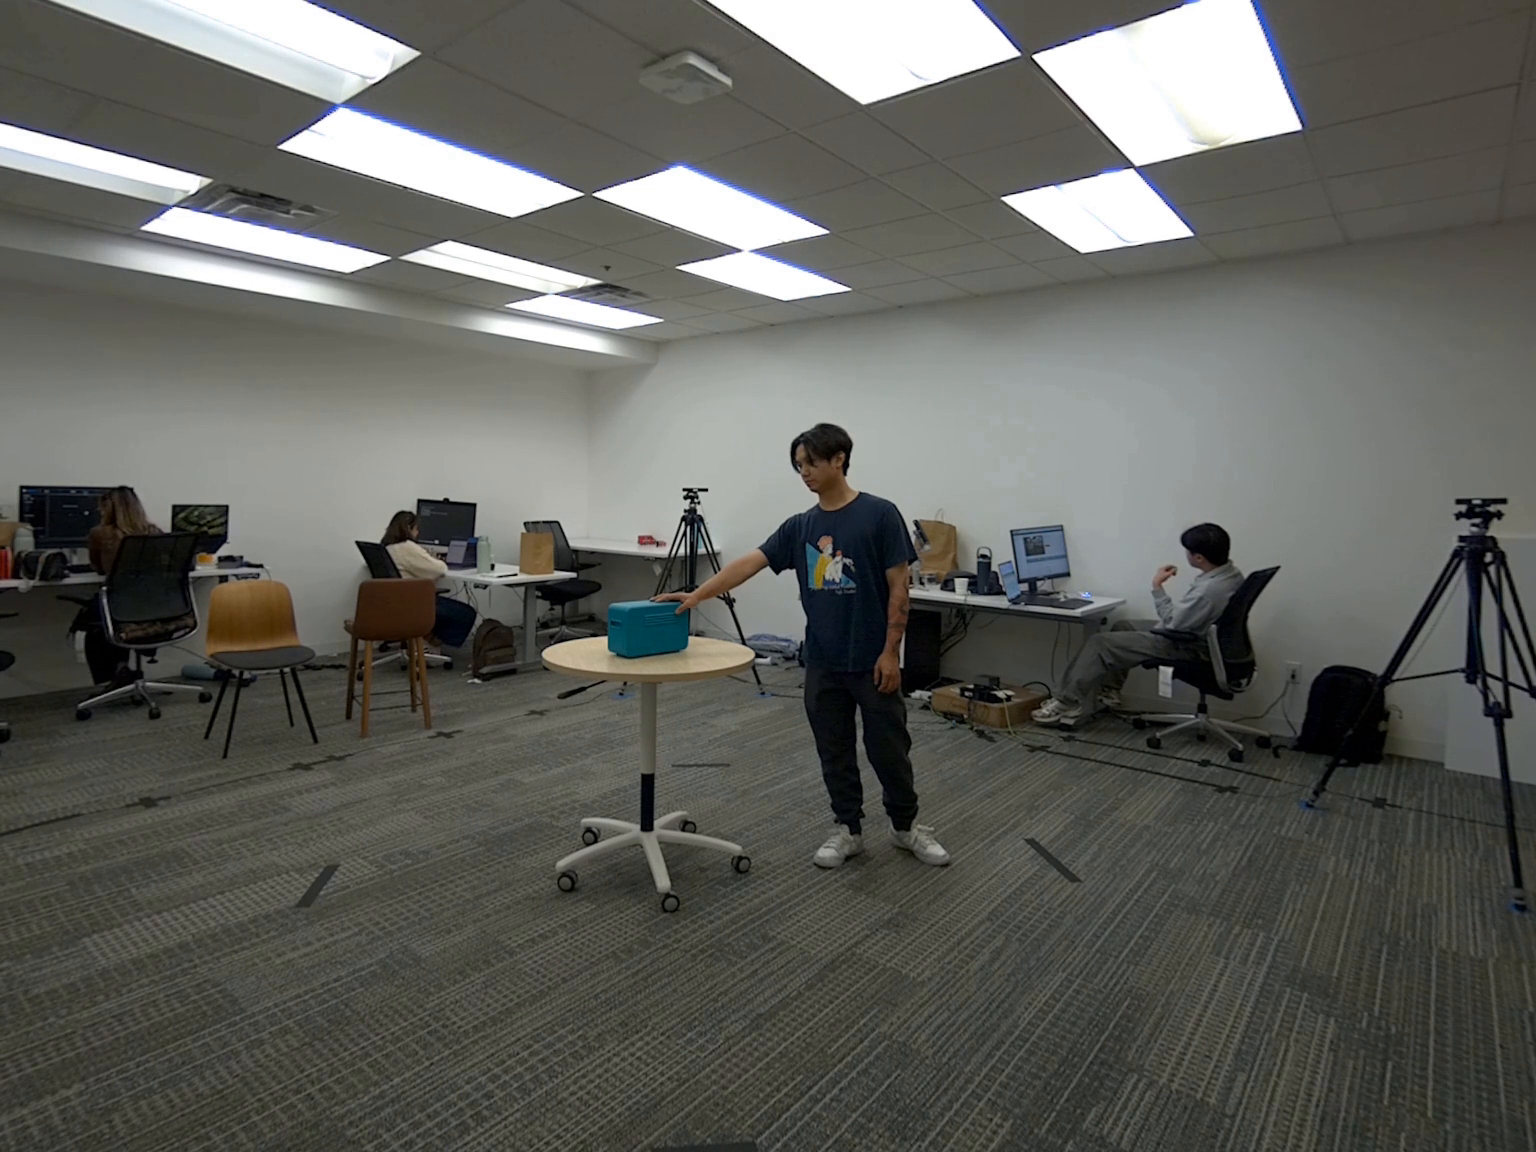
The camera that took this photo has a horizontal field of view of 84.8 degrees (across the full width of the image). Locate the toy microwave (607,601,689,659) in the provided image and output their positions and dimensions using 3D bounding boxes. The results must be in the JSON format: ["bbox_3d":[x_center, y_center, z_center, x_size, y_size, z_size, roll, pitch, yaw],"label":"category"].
[{"bbox_3d":[-0.450,0.183,3.071,0.277,0.184,0.157,-2,5,-42],"label":"toy microwave"}]
